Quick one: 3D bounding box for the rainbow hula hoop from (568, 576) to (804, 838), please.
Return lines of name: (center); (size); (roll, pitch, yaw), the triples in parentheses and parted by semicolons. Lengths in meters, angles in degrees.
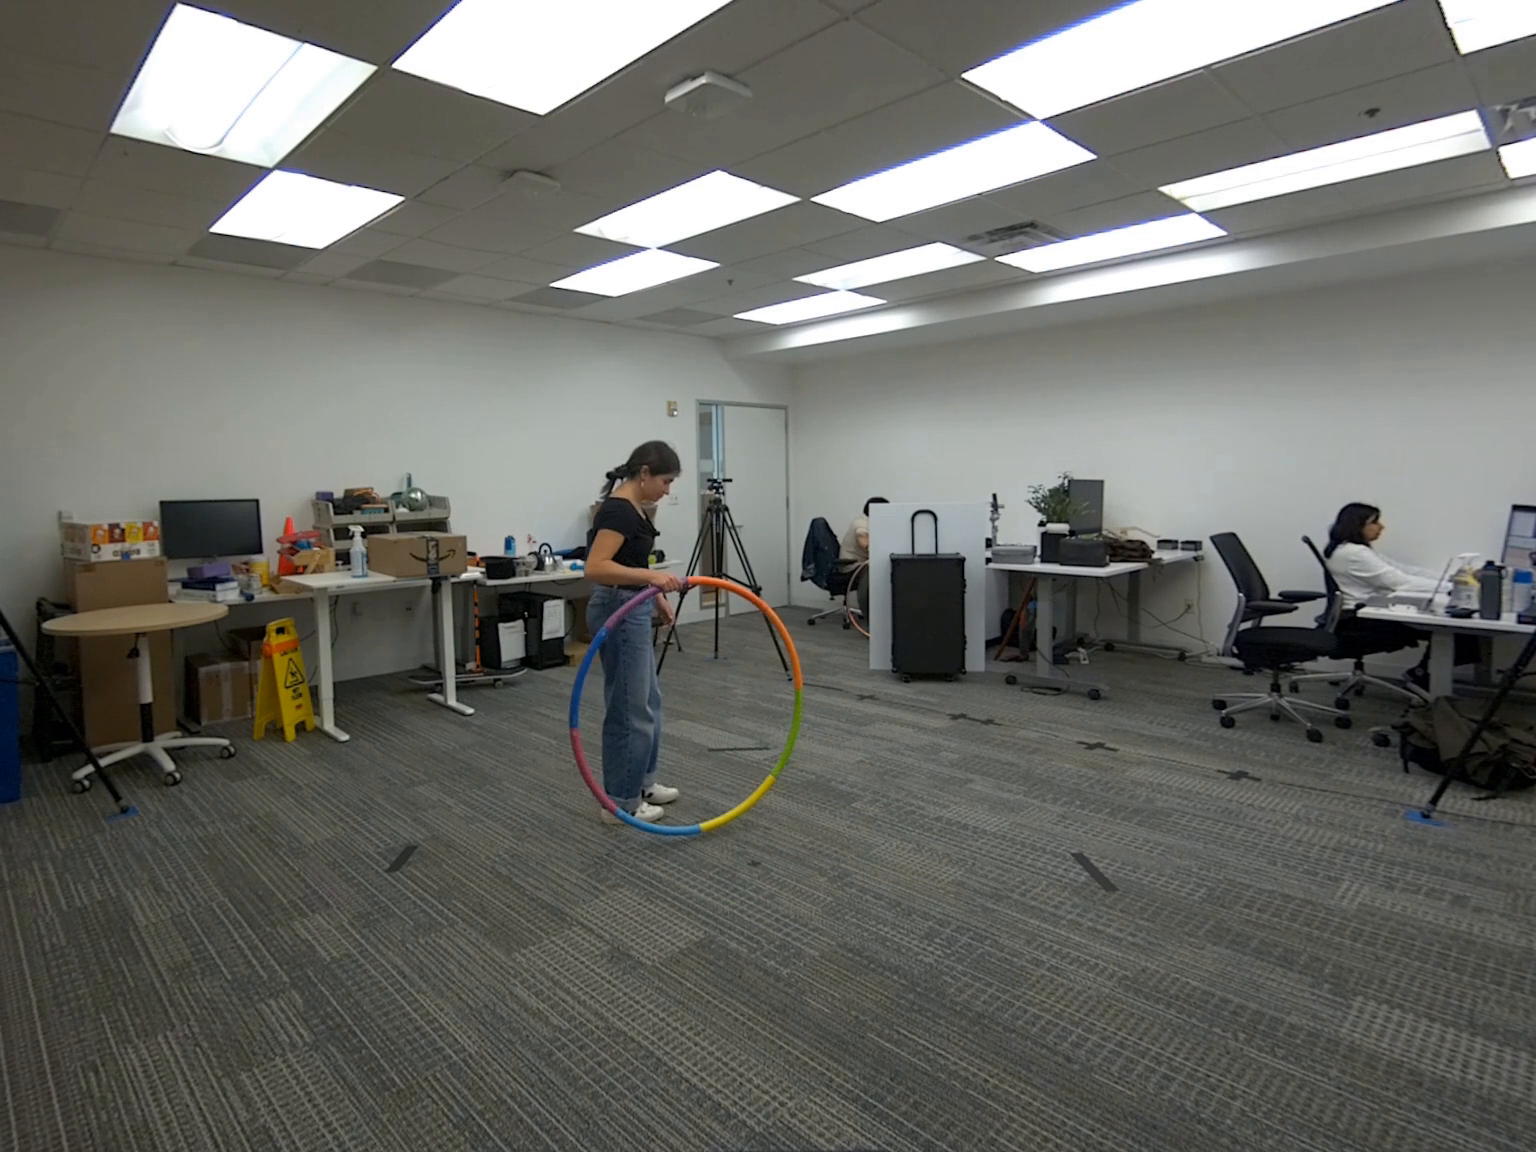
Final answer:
rainbow hula hoop: (-0.289, 0.504, 3.314); (0.958, 0.977, 0.036); (-3, 2, -26)
